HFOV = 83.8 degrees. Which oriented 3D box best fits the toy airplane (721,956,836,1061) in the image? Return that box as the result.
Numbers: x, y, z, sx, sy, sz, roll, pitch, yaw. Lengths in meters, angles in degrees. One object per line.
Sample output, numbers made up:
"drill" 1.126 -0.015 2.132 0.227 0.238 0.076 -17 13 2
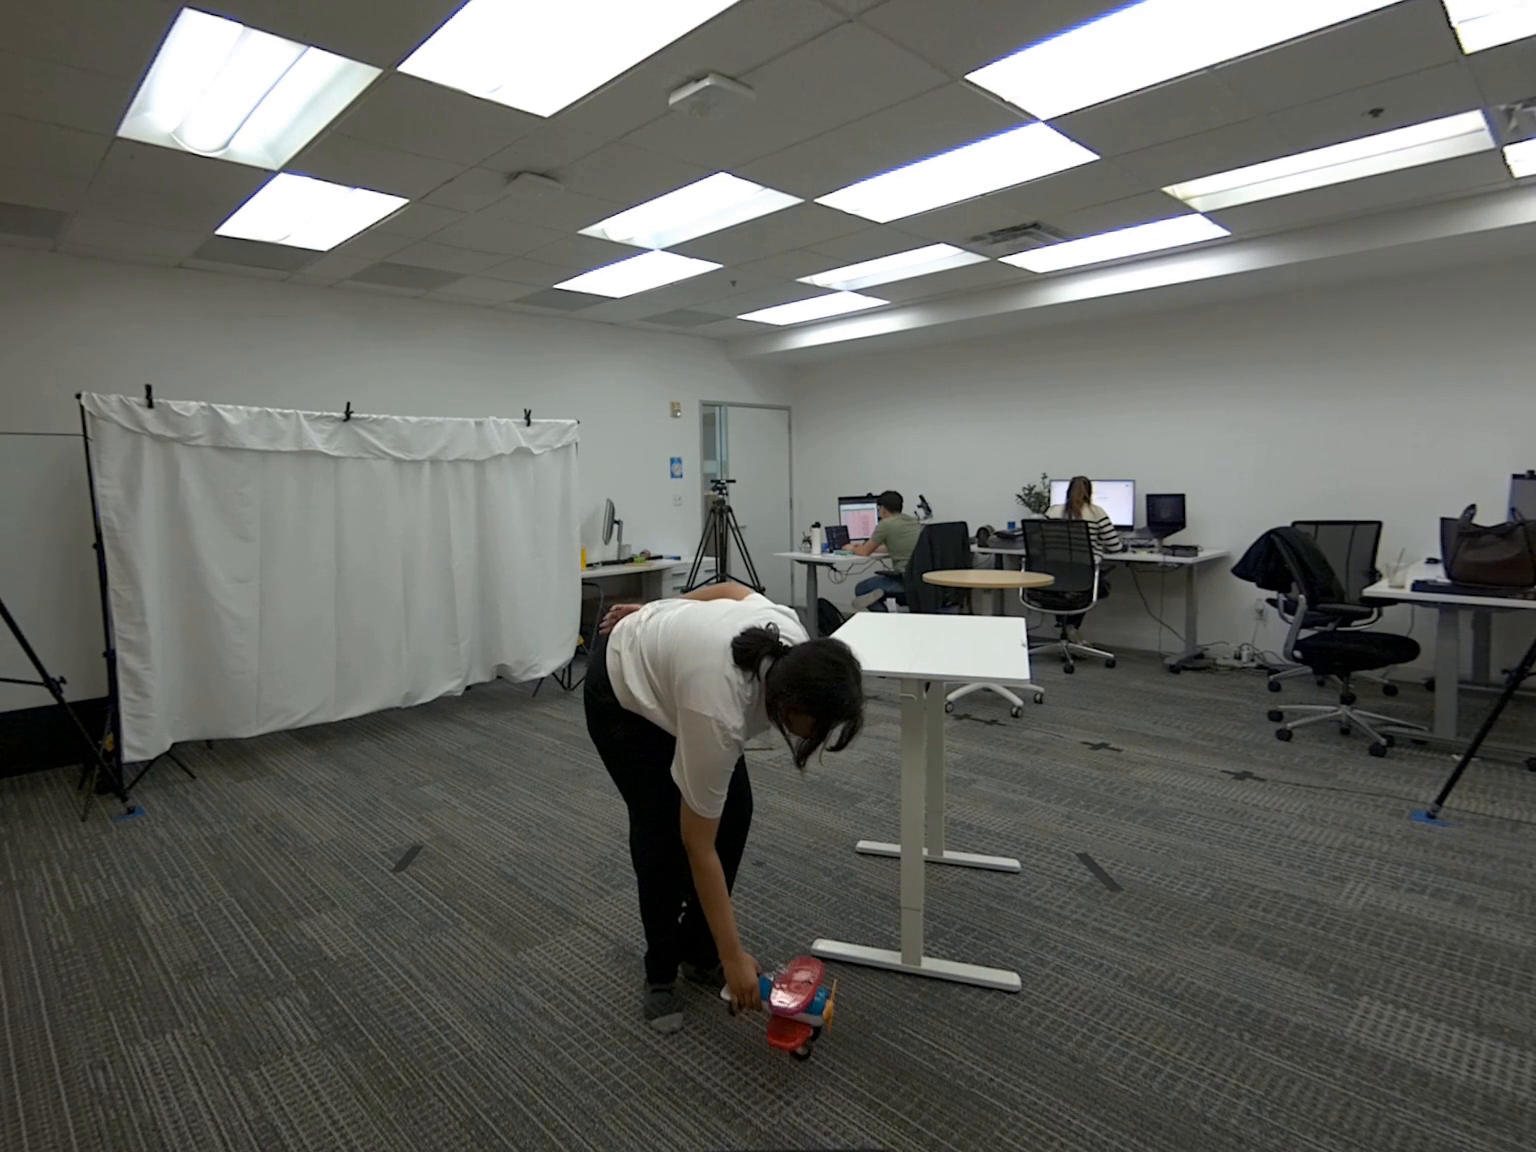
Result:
"toy airplane" 0.031 0.998 1.995 0.257 0.156 0.254 15 7 -8
